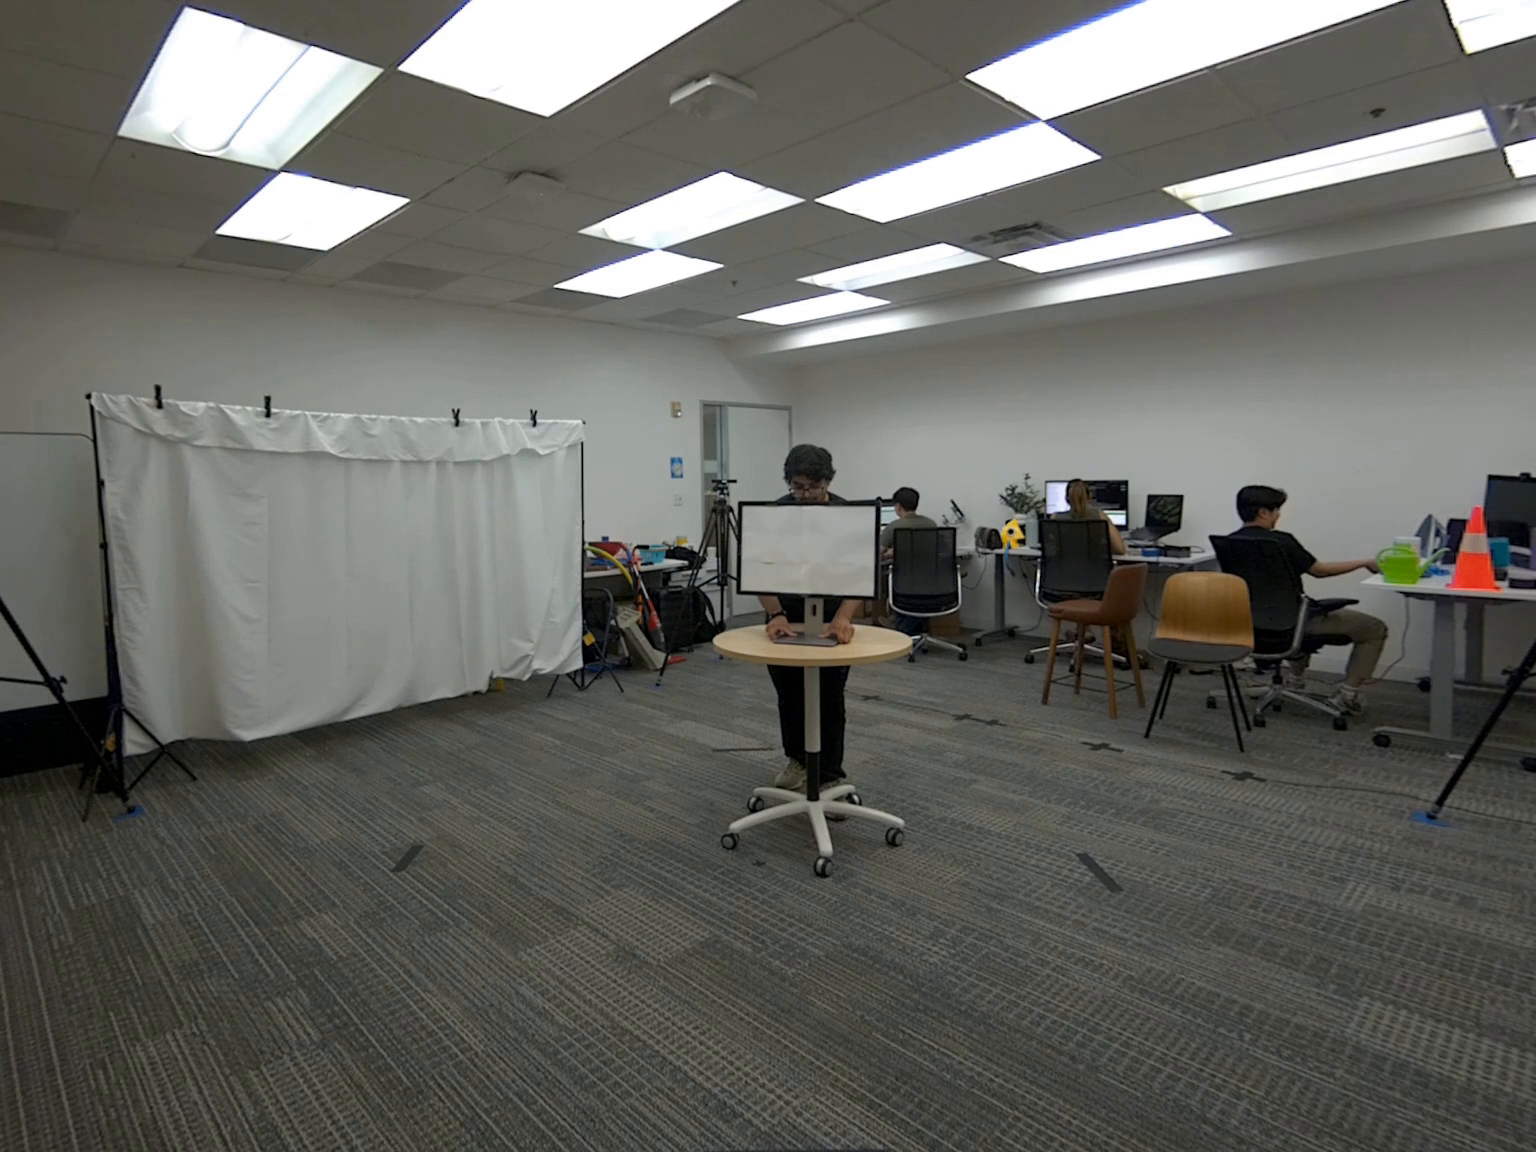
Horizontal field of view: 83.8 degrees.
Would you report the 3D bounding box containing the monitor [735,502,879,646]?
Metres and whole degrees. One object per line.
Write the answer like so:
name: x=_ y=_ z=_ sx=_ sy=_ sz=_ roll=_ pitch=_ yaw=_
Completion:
monitor: x=0.171 y=-0.017 z=3.282 sx=0.577 sy=0.552 sz=0.206 roll=1 pitch=4 yaw=22
